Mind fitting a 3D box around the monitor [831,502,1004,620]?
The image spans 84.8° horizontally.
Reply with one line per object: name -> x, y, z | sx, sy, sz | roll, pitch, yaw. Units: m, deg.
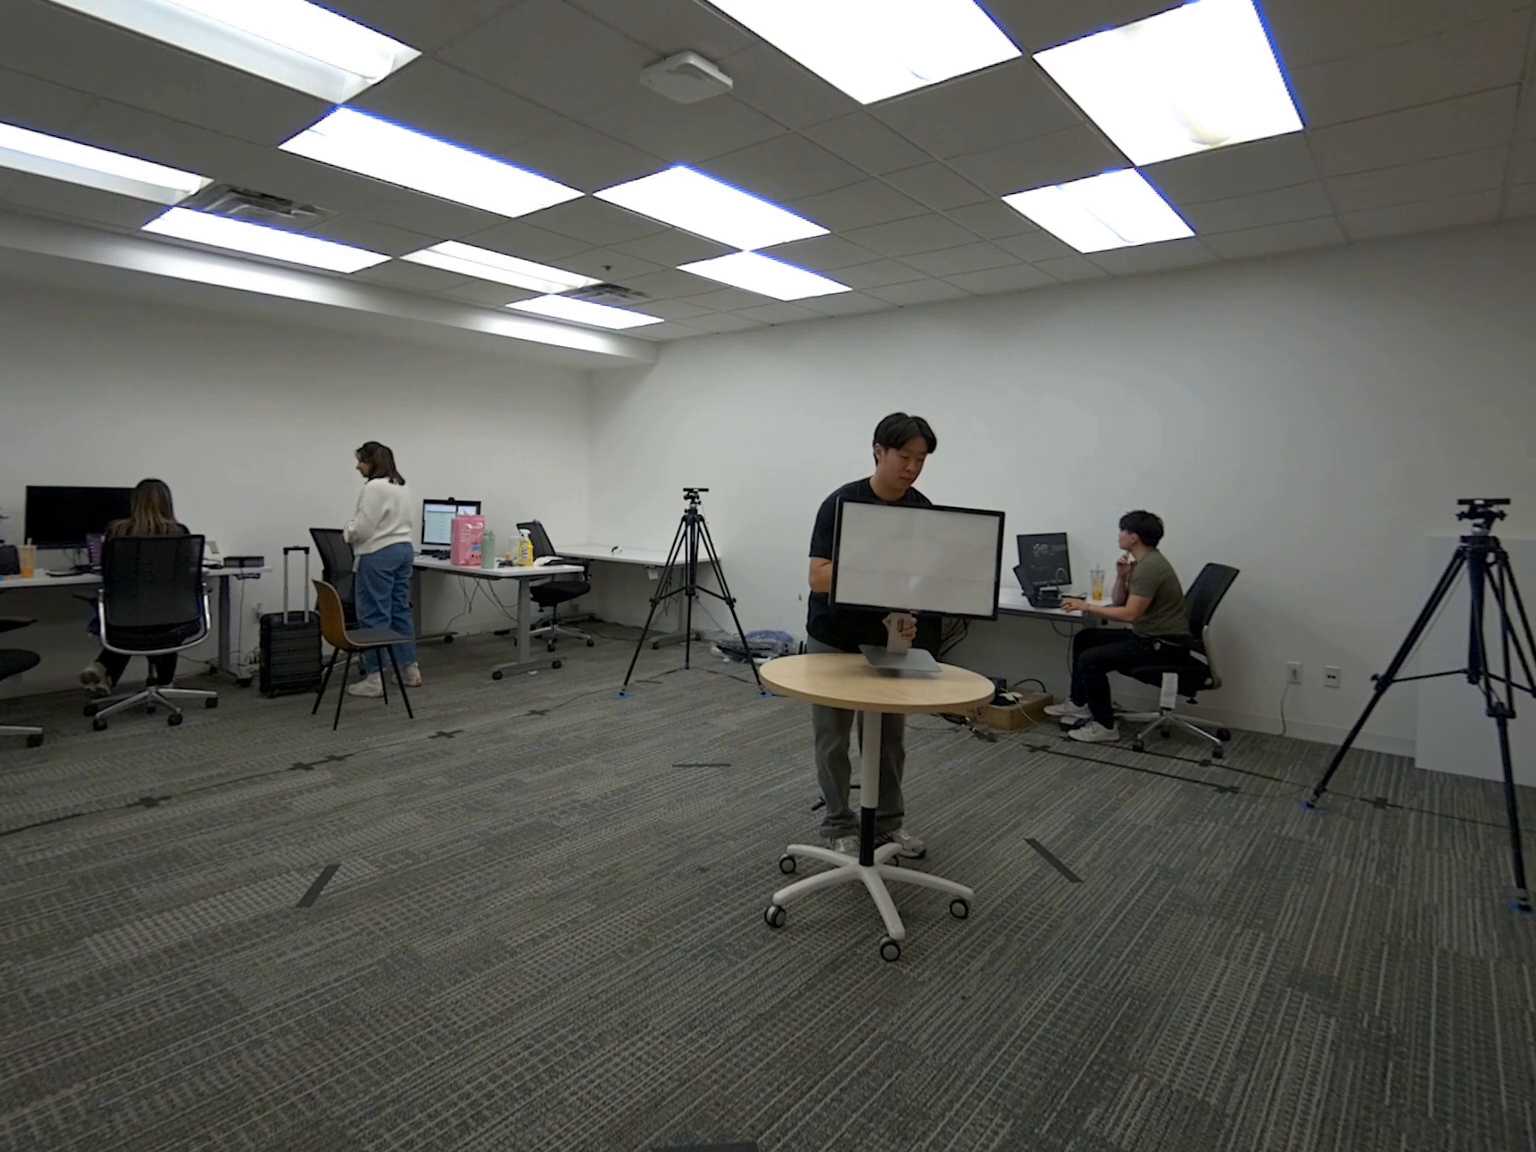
monitor -> 0.484, 0.036, 2.846 | 0.561, 0.560, 0.225 | 6, 12, -2
